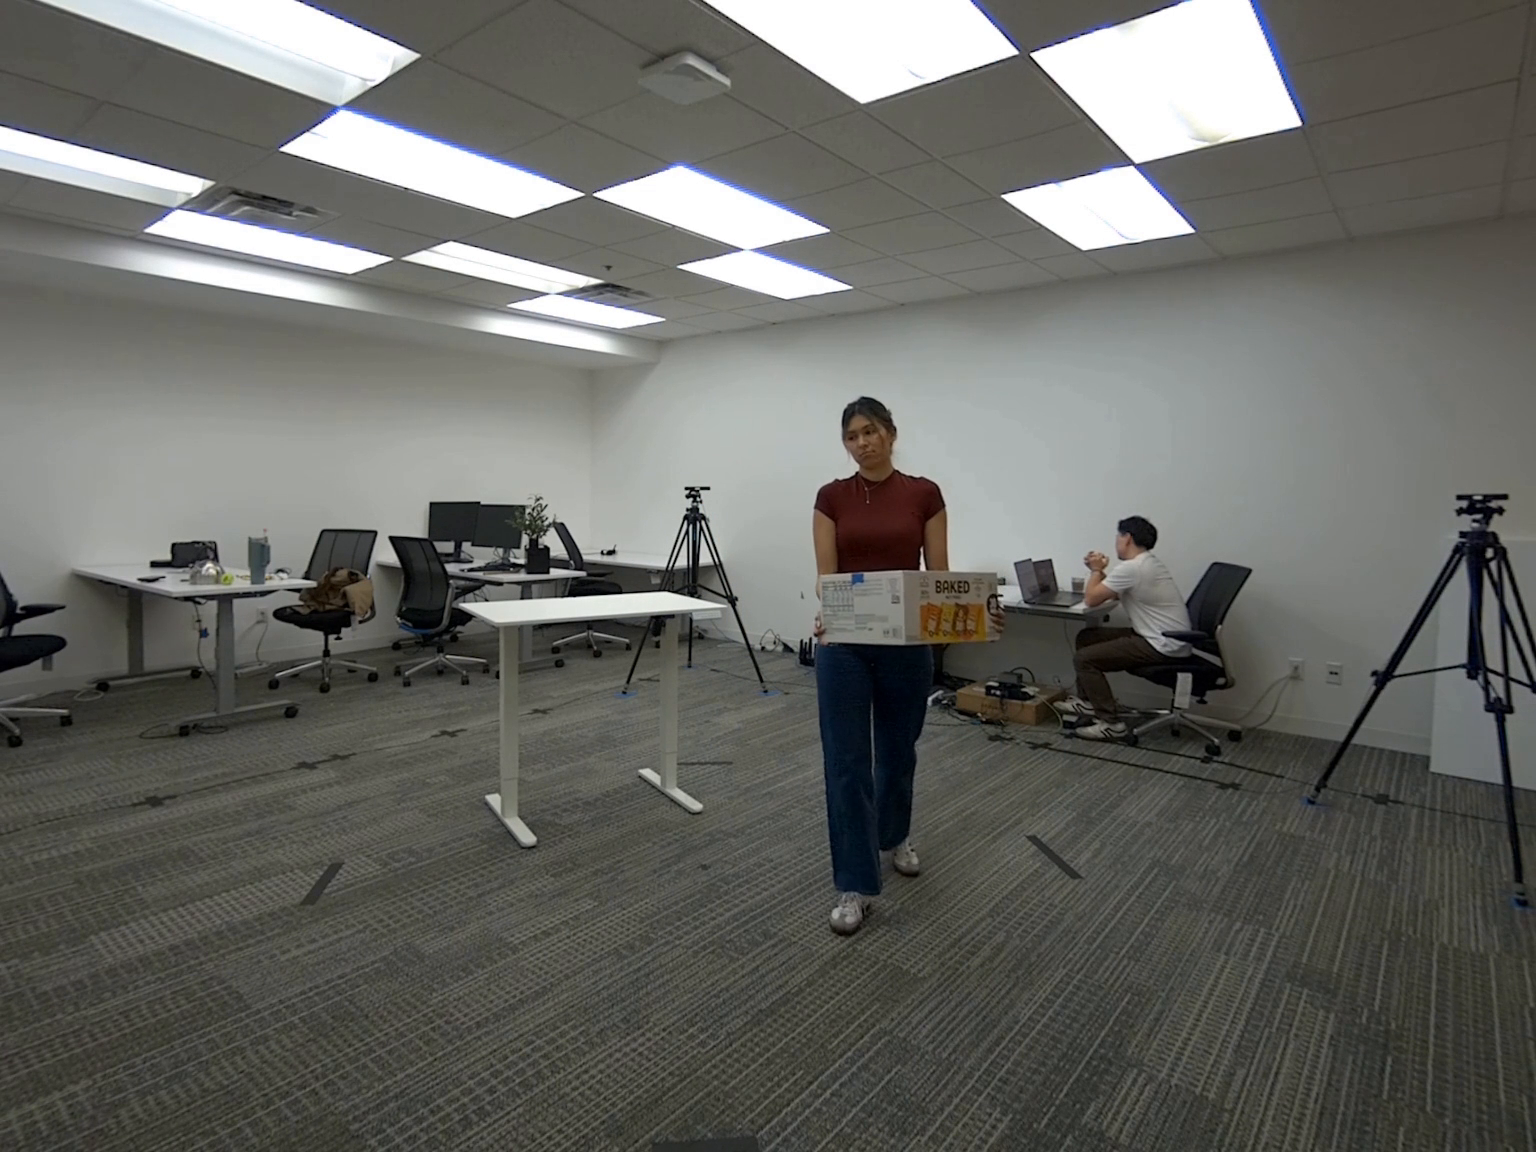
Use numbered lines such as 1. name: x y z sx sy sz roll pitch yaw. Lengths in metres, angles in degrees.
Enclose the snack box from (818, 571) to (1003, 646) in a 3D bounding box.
1. snack box: 0.409 0.089 2.540 0.393 0.207 0.349 1 -4 -37
